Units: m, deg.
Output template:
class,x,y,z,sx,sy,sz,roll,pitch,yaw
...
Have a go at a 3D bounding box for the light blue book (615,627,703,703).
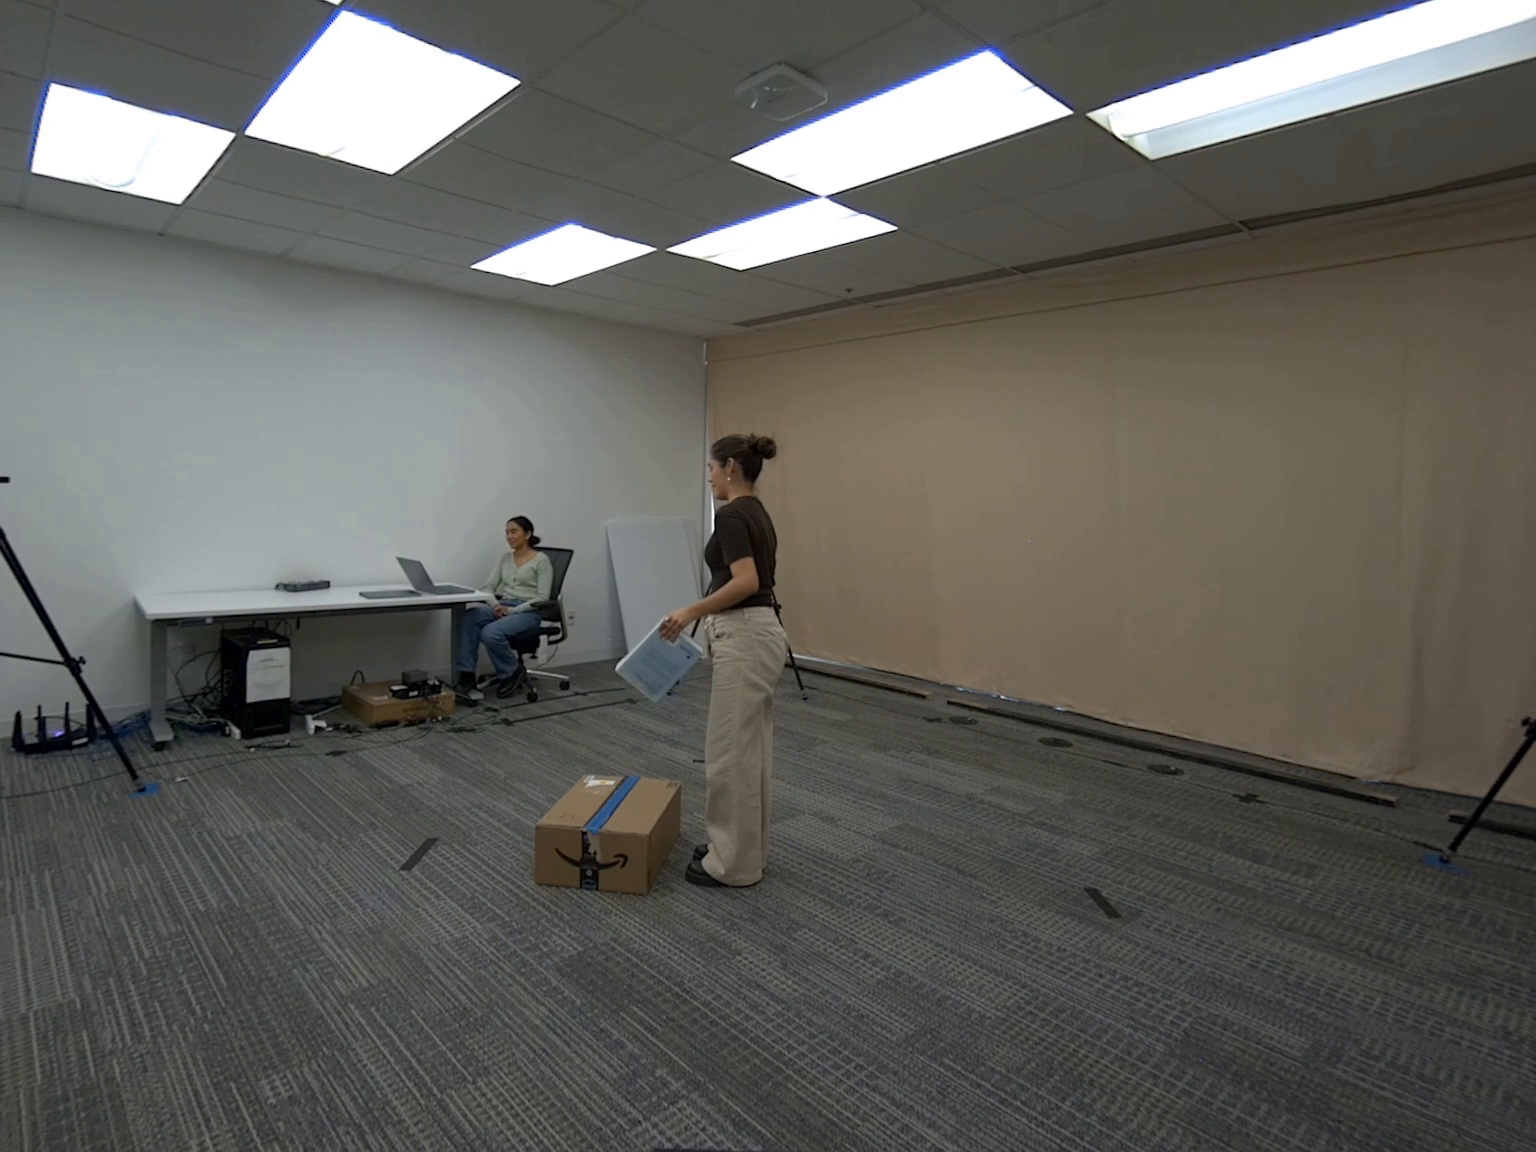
class,x,y,z,sx,sy,sz,roll,pitch,yaw
light blue book,-0.384,0.293,2.959,0.189,0.261,0.059,42,16,-9
